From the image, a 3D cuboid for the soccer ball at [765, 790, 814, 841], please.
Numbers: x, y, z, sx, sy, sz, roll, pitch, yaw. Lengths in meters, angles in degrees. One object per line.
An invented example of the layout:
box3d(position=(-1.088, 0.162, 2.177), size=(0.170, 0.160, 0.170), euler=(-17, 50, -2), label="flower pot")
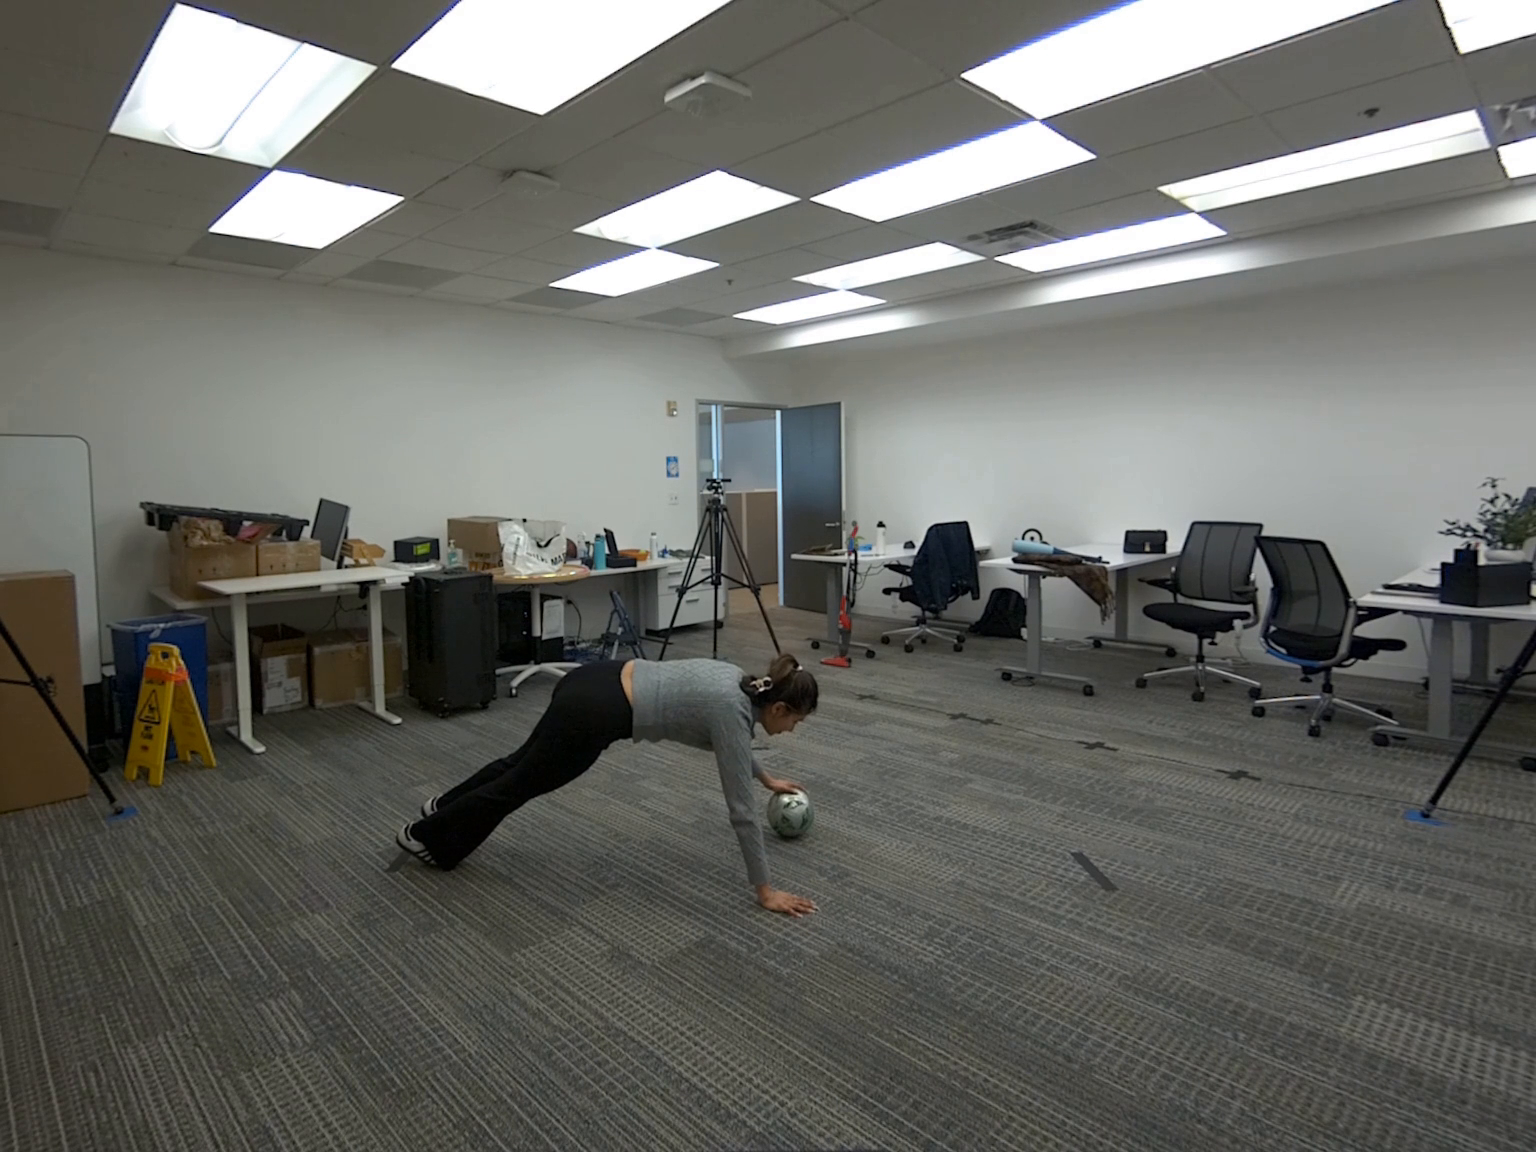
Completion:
box3d(position=(0.086, 0.922, 3.337), size=(0.187, 0.187, 0.188), euler=(-1, 5, -2), label="soccer ball")
